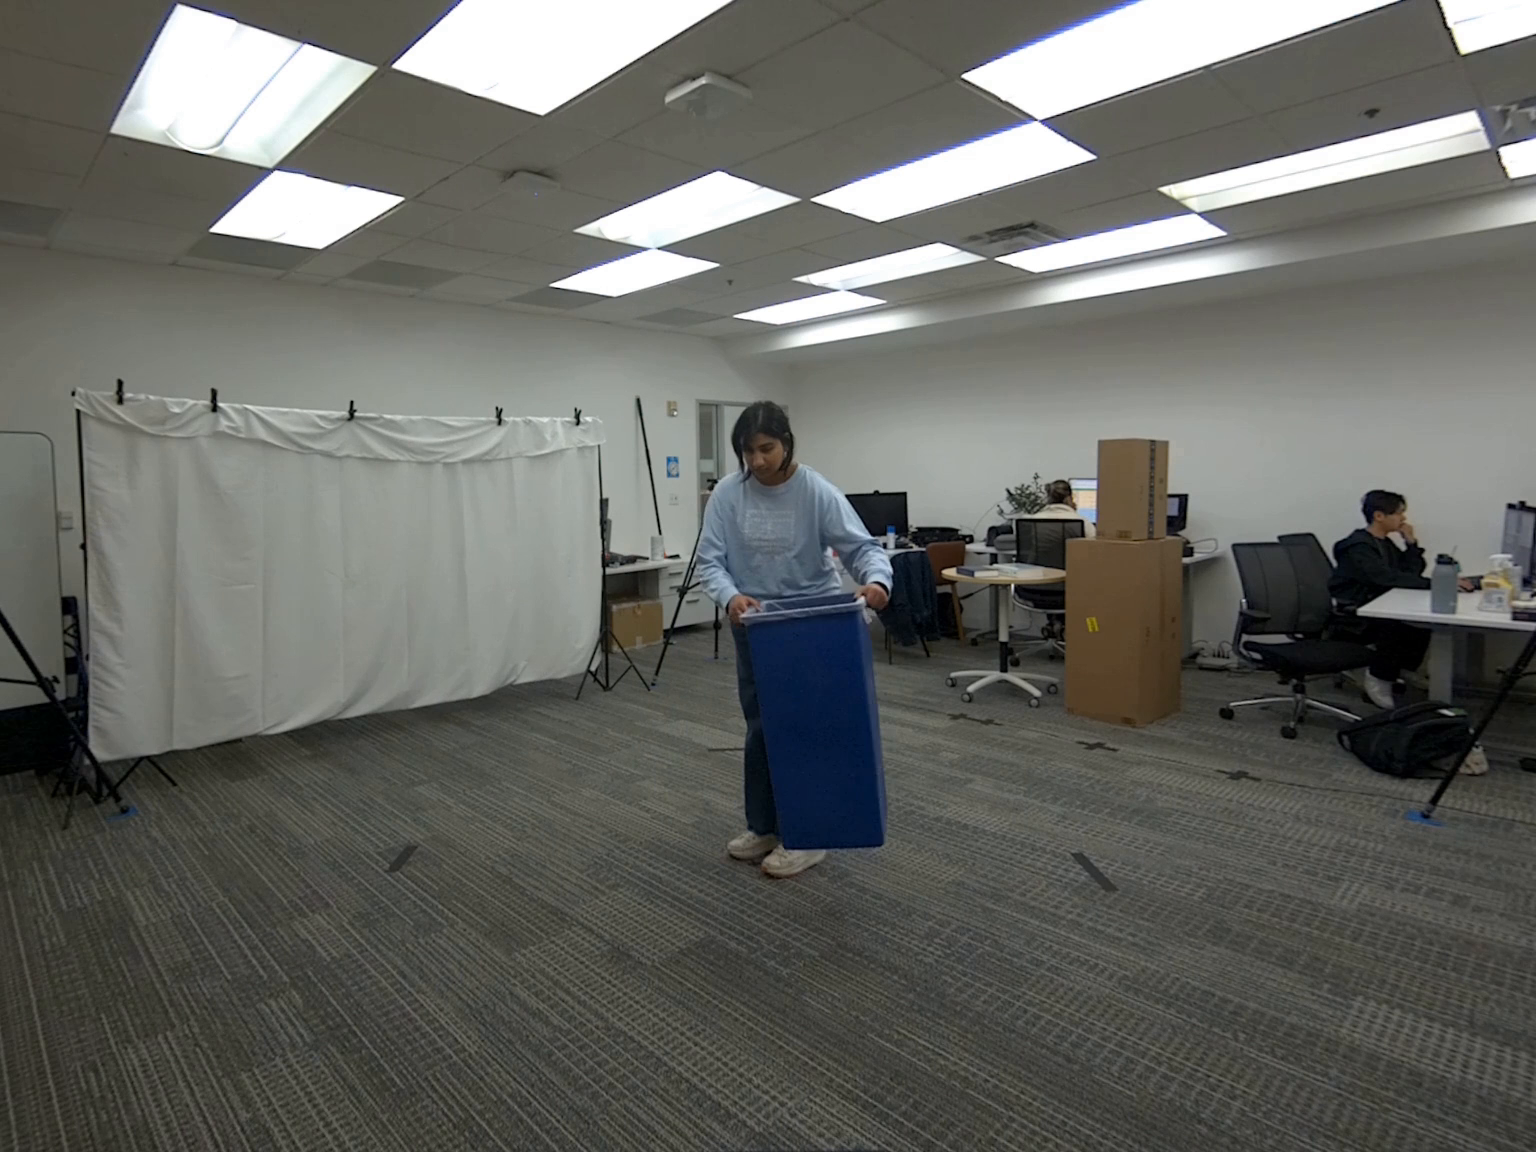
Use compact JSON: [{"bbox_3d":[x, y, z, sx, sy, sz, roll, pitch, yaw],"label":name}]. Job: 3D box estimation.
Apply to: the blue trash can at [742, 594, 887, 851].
[{"bbox_3d":[0.166,0.448,2.644,0.377,0.713,0.375,-6,1,10],"label":"blue trash can"}]
